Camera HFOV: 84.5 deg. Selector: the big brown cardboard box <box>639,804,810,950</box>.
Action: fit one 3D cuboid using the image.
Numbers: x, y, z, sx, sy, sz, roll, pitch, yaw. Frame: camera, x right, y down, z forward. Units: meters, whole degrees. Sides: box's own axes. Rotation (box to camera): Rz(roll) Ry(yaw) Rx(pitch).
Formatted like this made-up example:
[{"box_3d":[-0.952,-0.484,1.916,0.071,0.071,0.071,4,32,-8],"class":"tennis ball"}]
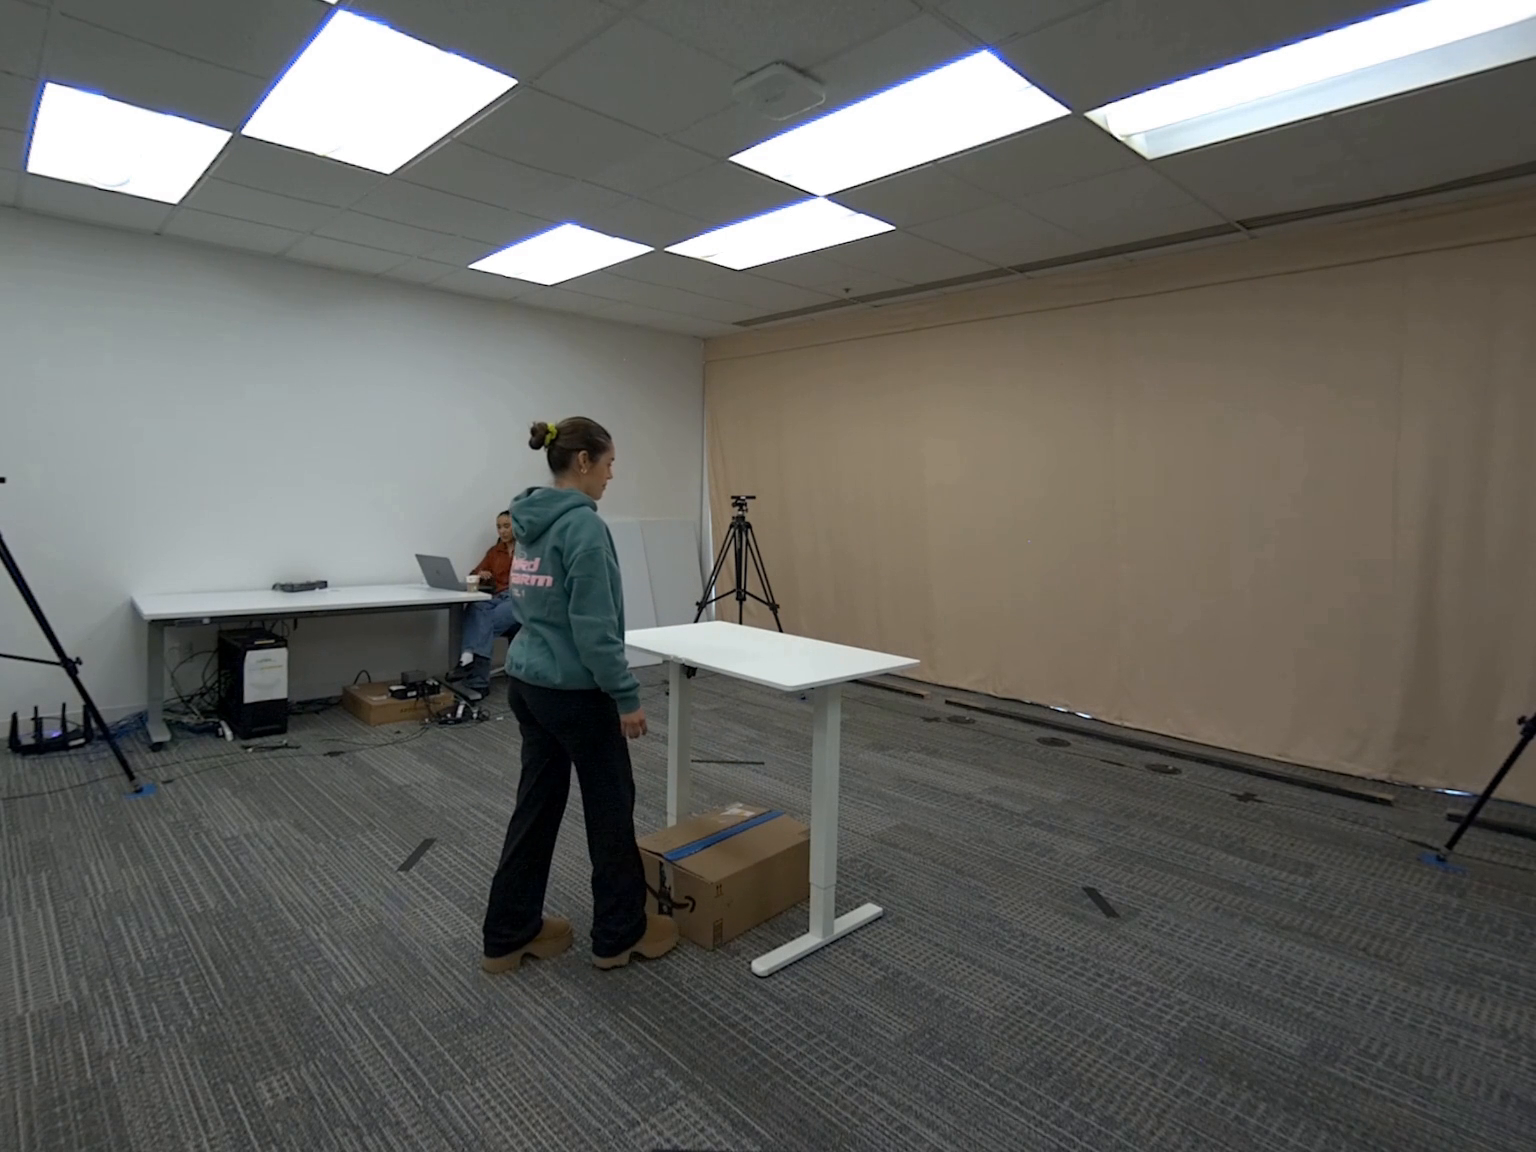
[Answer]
[{"box_3d":[-0.144,1.004,2.912,0.428,0.232,0.576,5,7,41],"class":"big brown cardboard box"}]
